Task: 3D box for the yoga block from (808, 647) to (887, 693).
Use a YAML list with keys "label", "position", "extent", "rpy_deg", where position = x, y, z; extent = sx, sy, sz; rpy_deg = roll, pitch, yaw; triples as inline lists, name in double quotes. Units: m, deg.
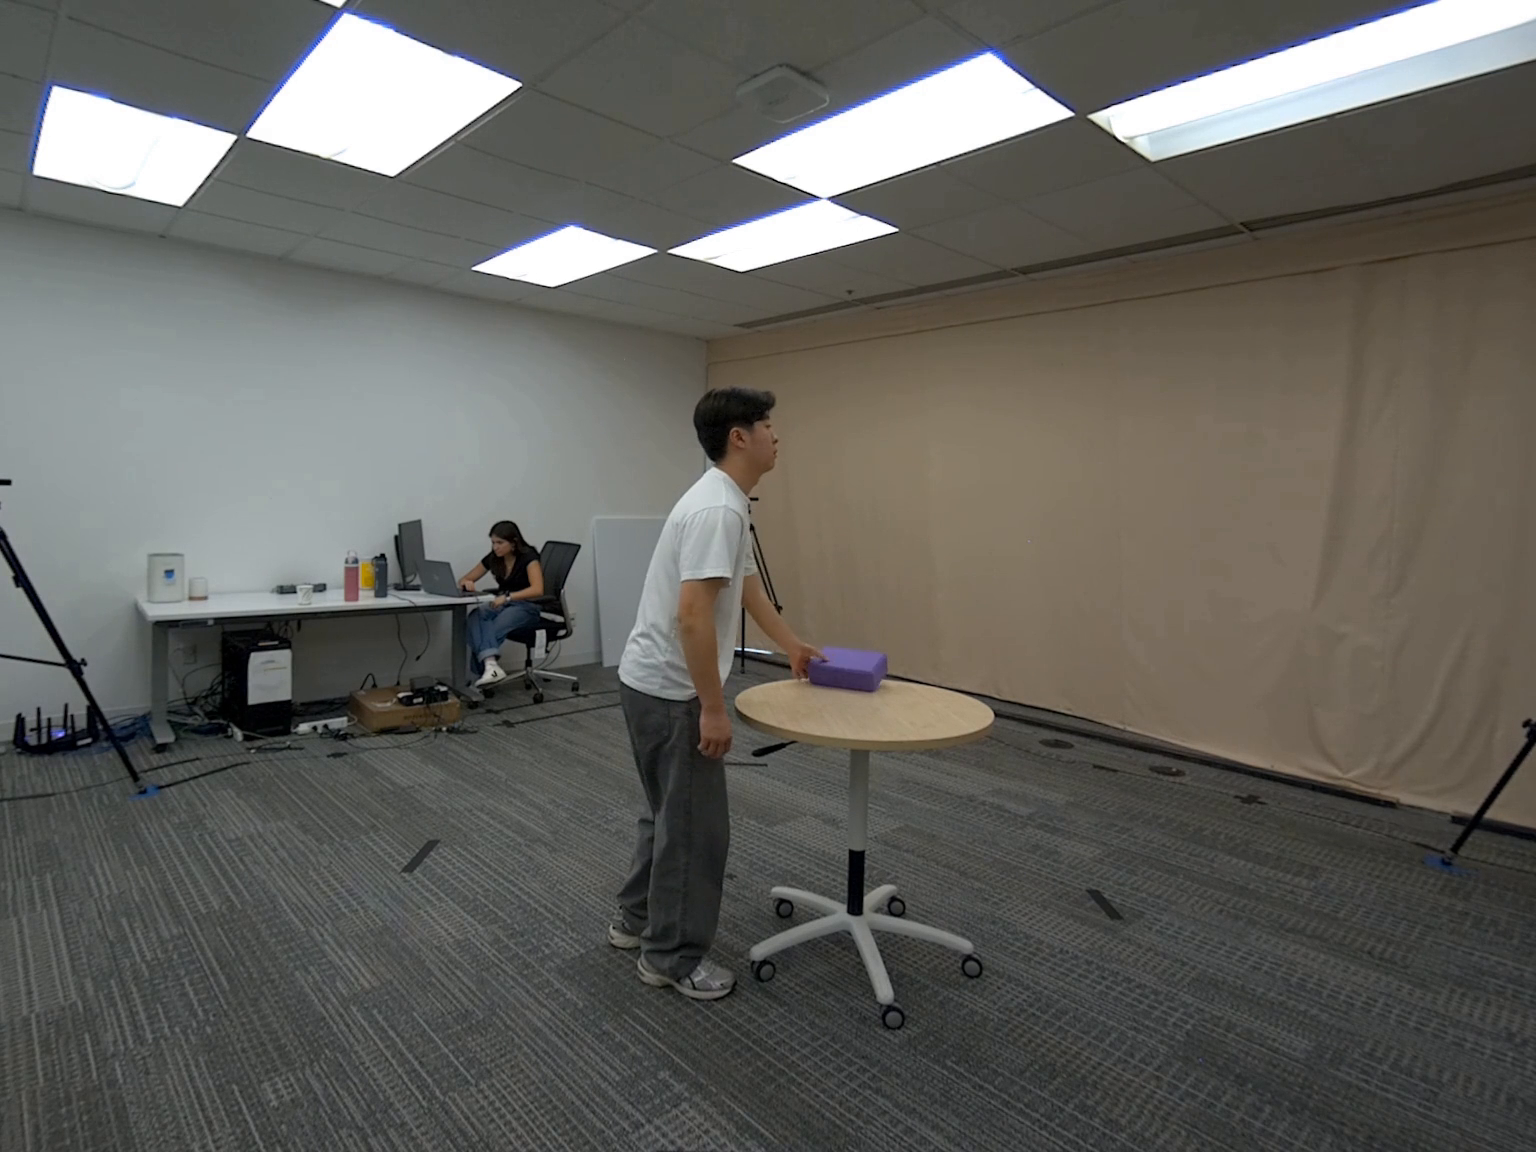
- label: "yoga block"
  position: [0.261, 0.307, 2.768]
  extent: [0.234, 0.075, 0.148]
  rpy_deg: [3, 24, 27]
